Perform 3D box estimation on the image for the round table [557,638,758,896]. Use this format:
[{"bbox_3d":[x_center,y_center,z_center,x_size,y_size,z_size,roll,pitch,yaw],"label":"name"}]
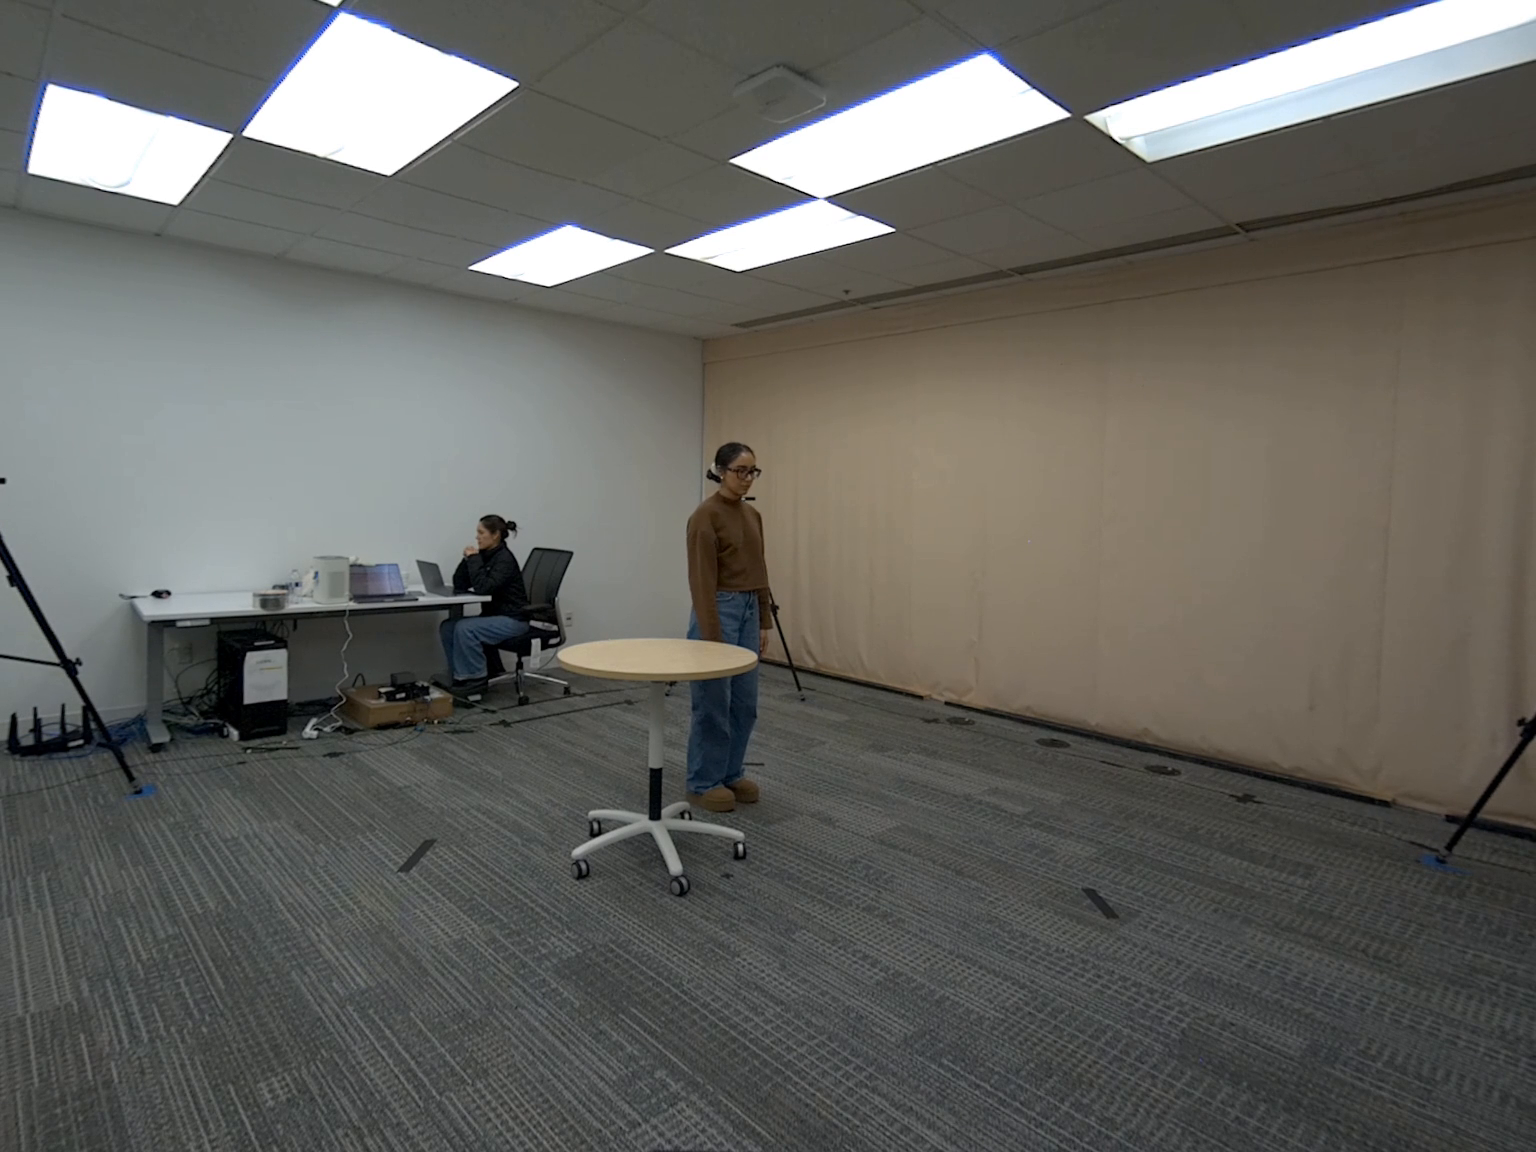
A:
[{"bbox_3d":[-0.448,0.698,3.259,0.763,0.792,0.766,1,3,-1],"label":"round table"}]
